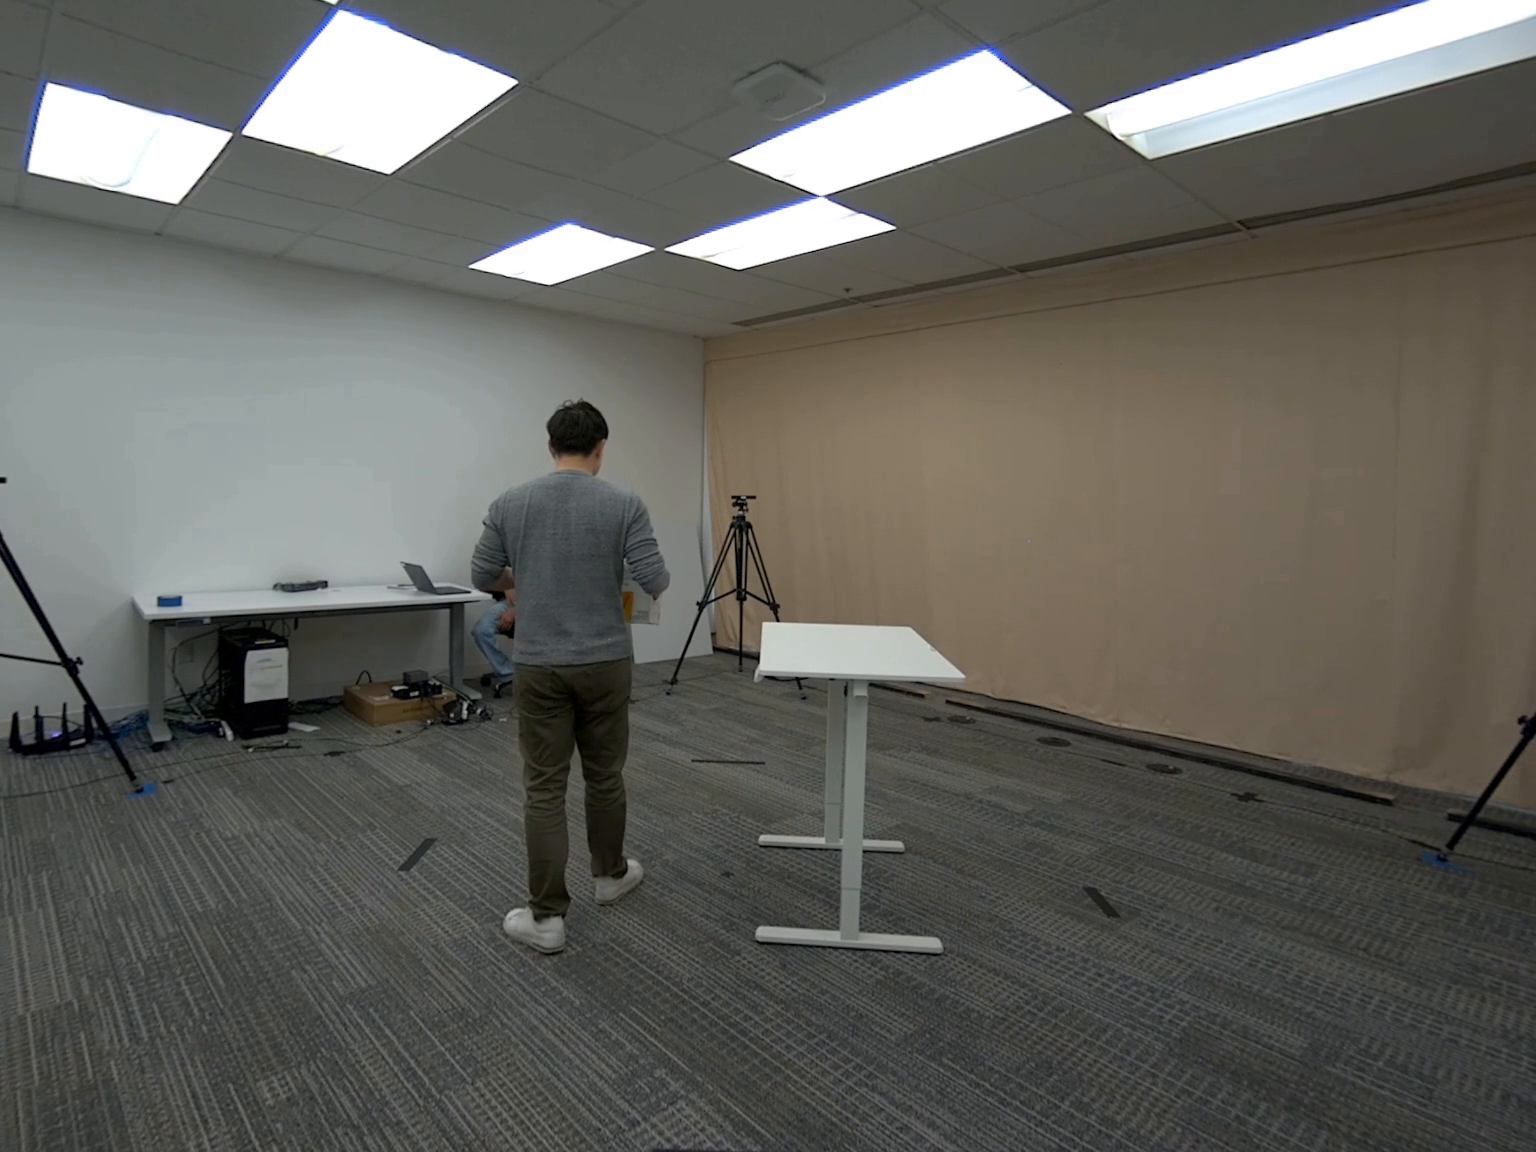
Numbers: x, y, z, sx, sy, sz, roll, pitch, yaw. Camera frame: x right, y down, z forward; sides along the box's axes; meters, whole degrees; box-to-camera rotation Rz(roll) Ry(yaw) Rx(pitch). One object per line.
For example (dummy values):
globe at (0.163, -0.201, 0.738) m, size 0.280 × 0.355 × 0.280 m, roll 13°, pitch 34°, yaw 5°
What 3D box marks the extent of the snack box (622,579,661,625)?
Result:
snack box at (-0.607, 0.065, 3.073) m, size 0.405 × 0.206 × 0.339 m, roll 3°, pitch -3°, yaw 1°
